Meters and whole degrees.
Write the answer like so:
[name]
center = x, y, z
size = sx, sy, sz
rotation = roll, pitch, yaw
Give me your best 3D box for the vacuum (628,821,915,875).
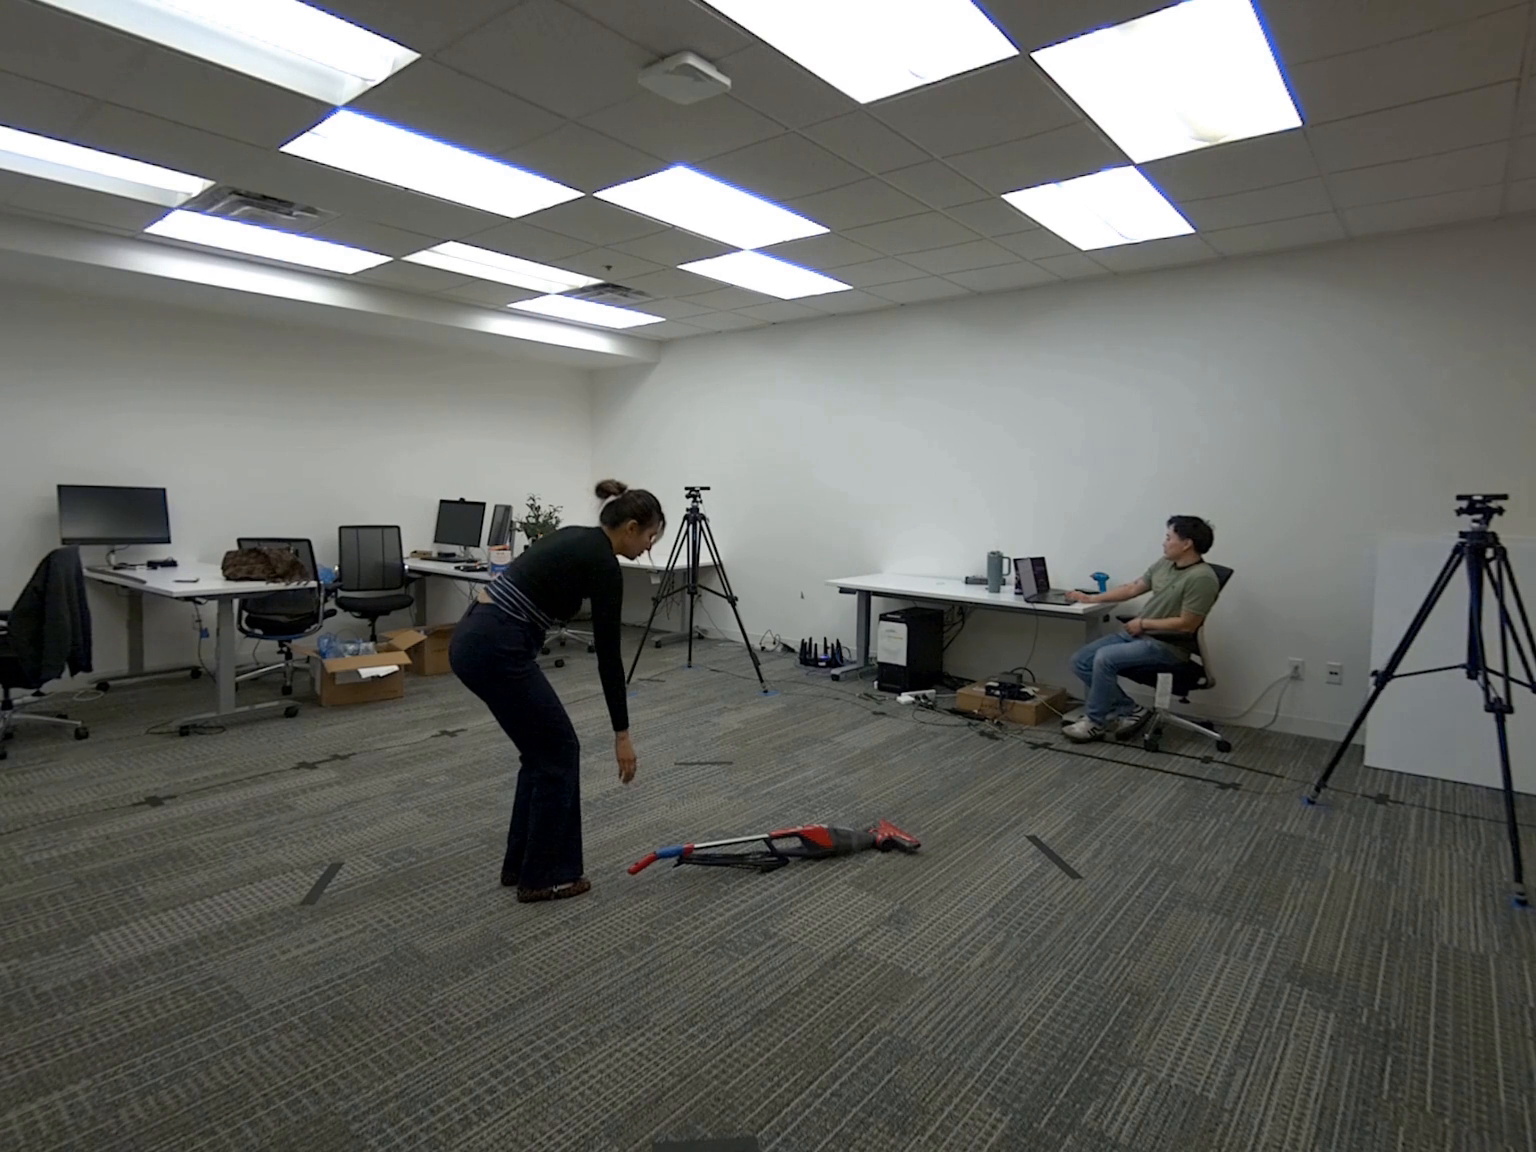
[vacuum]
center = 0.002, 1.010, 3.148
size = 1.026, 0.144, 0.258
rotation = 0, 1, -23
